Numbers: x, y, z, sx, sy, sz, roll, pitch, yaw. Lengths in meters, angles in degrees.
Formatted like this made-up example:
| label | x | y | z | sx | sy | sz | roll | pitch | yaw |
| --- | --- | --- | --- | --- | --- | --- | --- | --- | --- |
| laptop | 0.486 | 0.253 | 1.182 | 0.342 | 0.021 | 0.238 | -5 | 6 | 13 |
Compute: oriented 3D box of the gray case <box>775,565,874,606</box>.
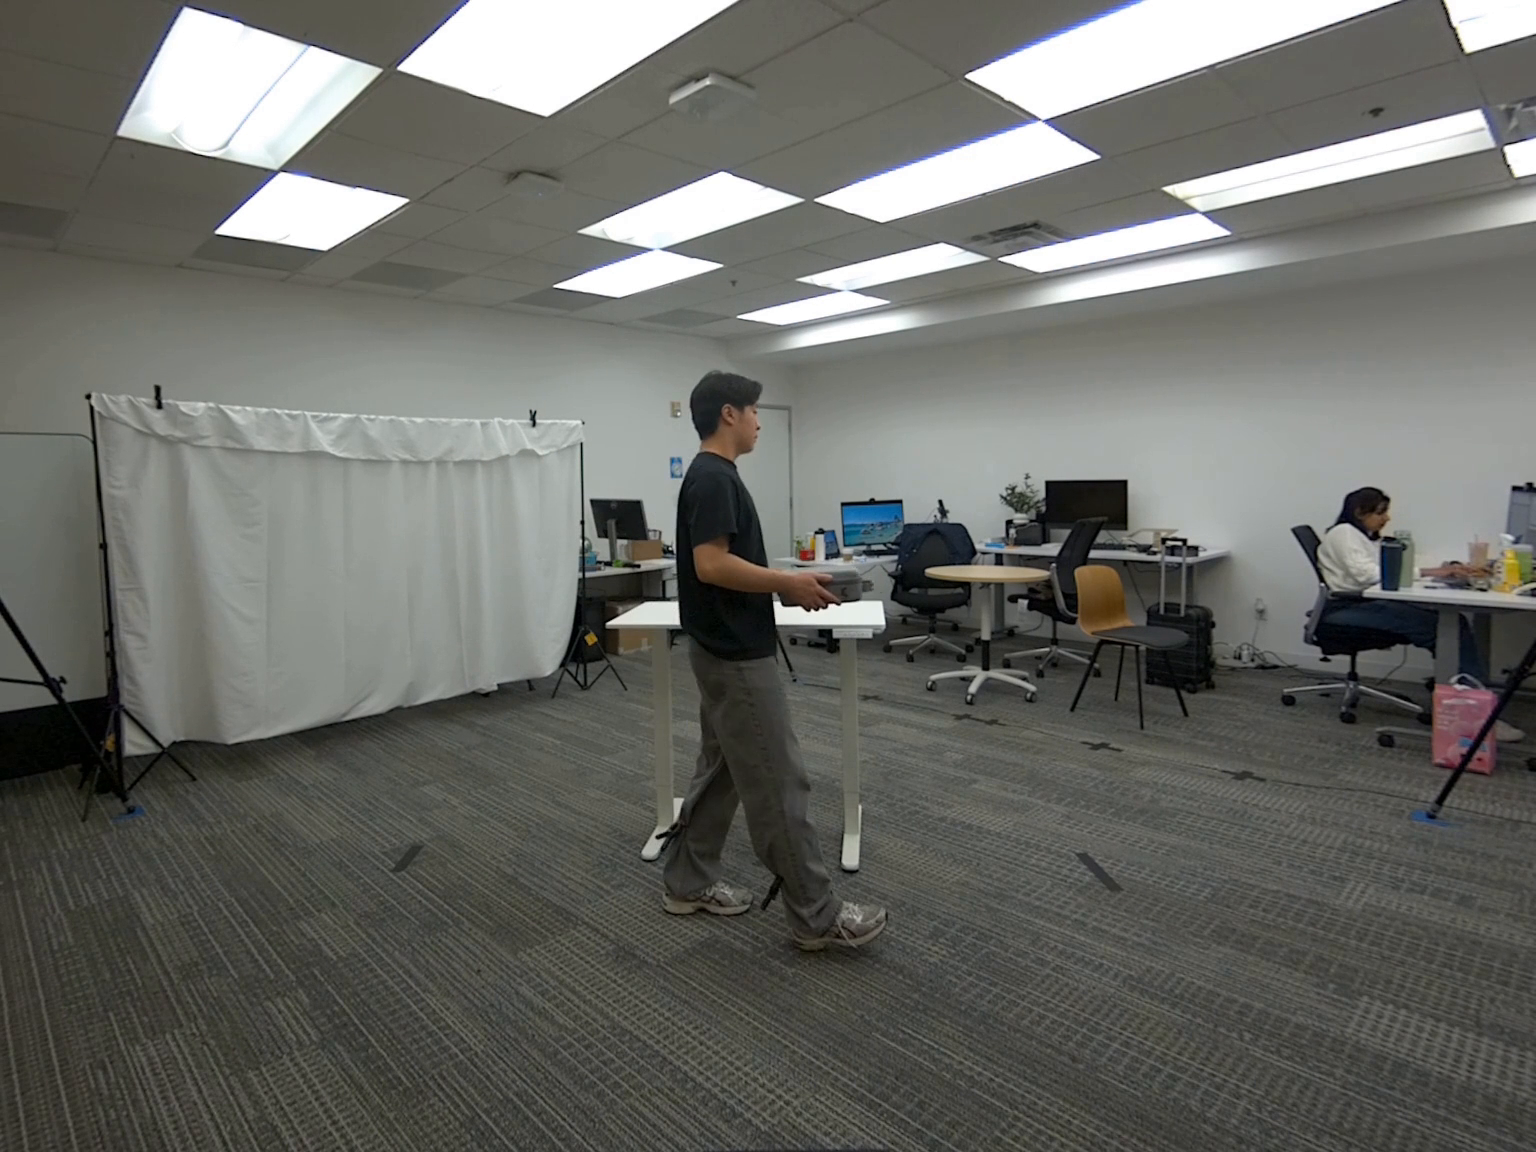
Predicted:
| label | x | y | z | sx | sy | sz | roll | pitch | yaw |
| --- | --- | --- | --- | --- | --- | --- | --- | --- | --- |
| gray case | 0.169 | 0.026 | 2.652 | 0.289 | 0.103 | 0.261 | -3 | 1 | 6 |
